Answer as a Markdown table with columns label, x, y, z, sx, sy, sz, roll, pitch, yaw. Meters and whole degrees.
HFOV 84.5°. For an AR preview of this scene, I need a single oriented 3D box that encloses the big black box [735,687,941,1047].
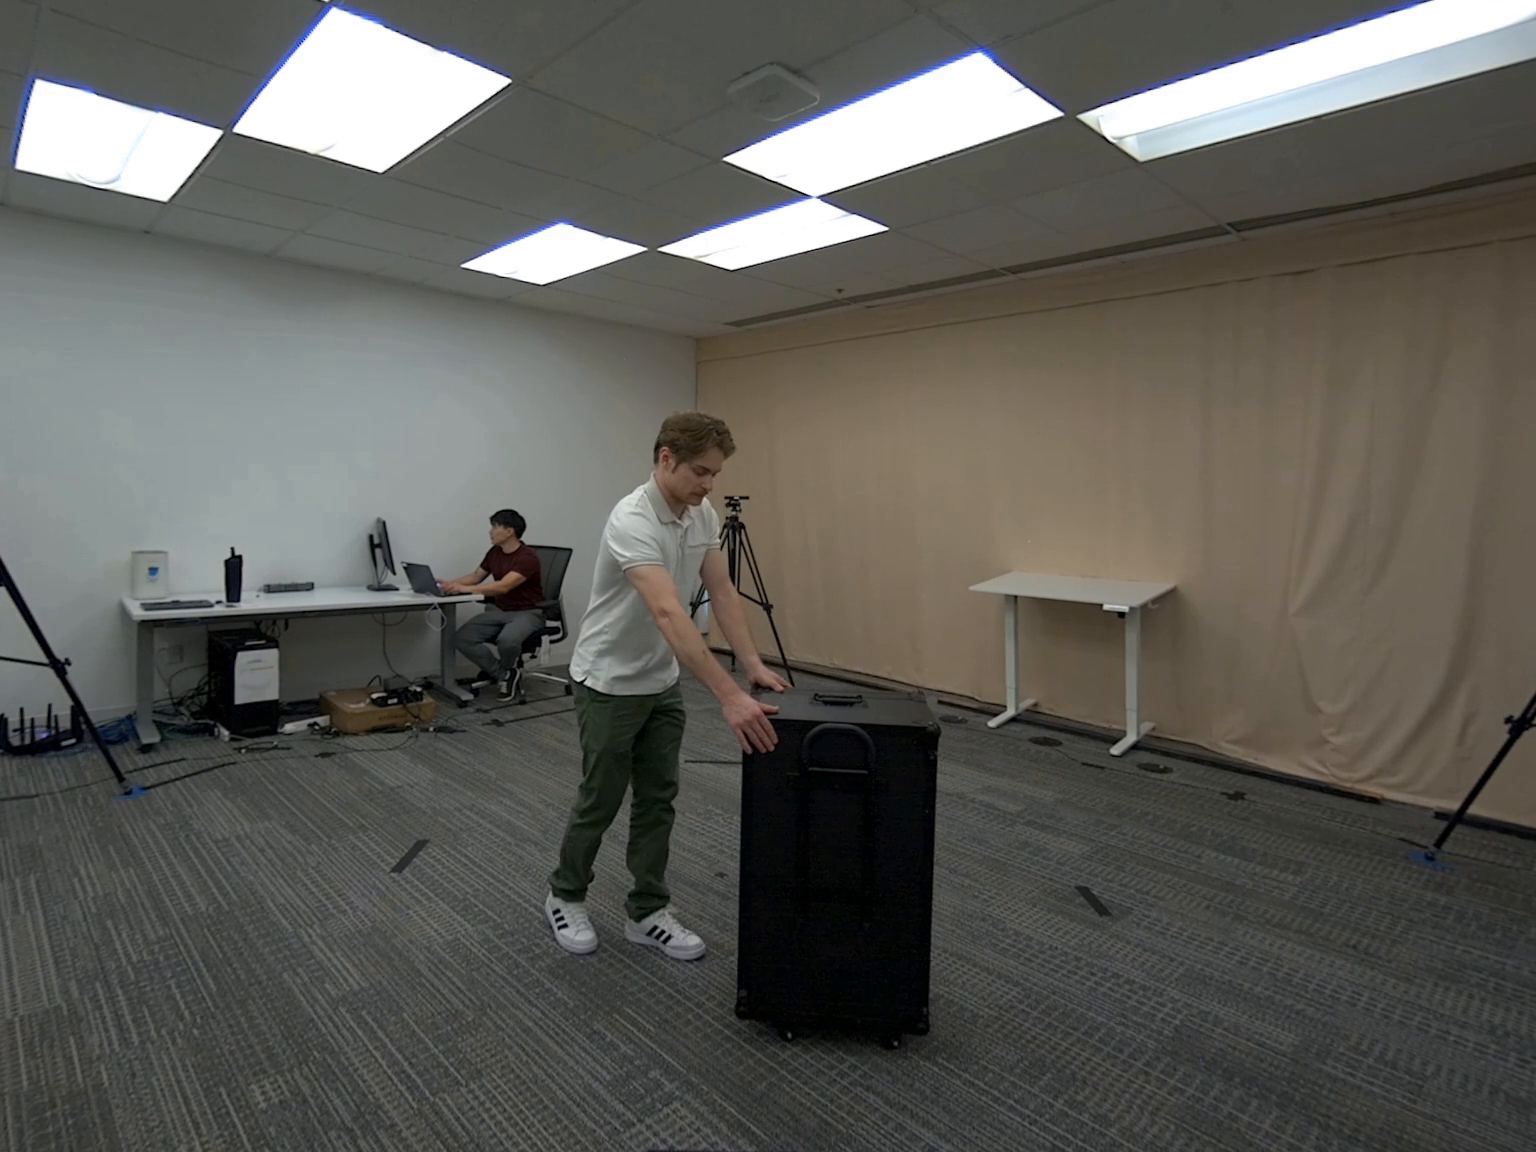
| label | x | y | z | sx | sy | sz | roll | pitch | yaw |
| --- | --- | --- | --- | --- | --- | --- | --- | --- | --- |
| big black box | 0.177 | 0.769 | 2.263 | 0.526 | 0.866 | 0.385 | 1 | 4 | 5 |
